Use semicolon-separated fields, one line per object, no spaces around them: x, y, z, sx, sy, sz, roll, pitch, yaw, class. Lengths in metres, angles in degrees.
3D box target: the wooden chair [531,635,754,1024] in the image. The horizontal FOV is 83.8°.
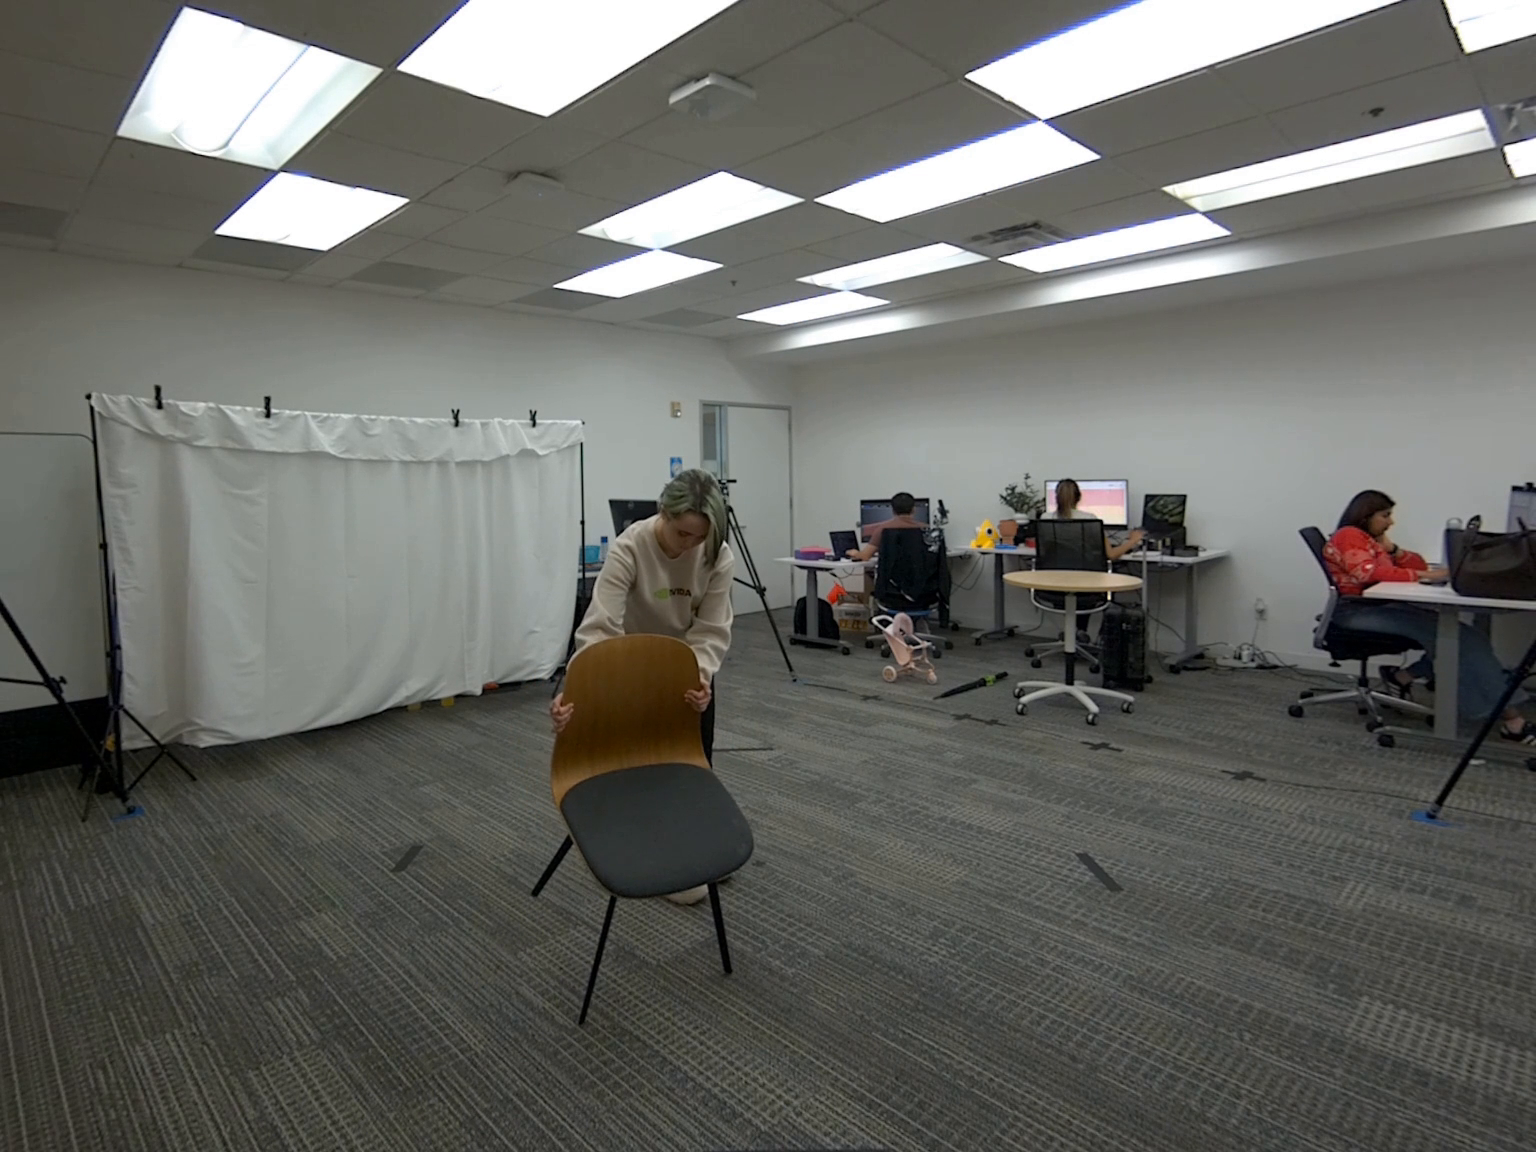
-0.327;0.672;2.321;0.467;0.865;0.543;-4;23;-31;wooden chair
